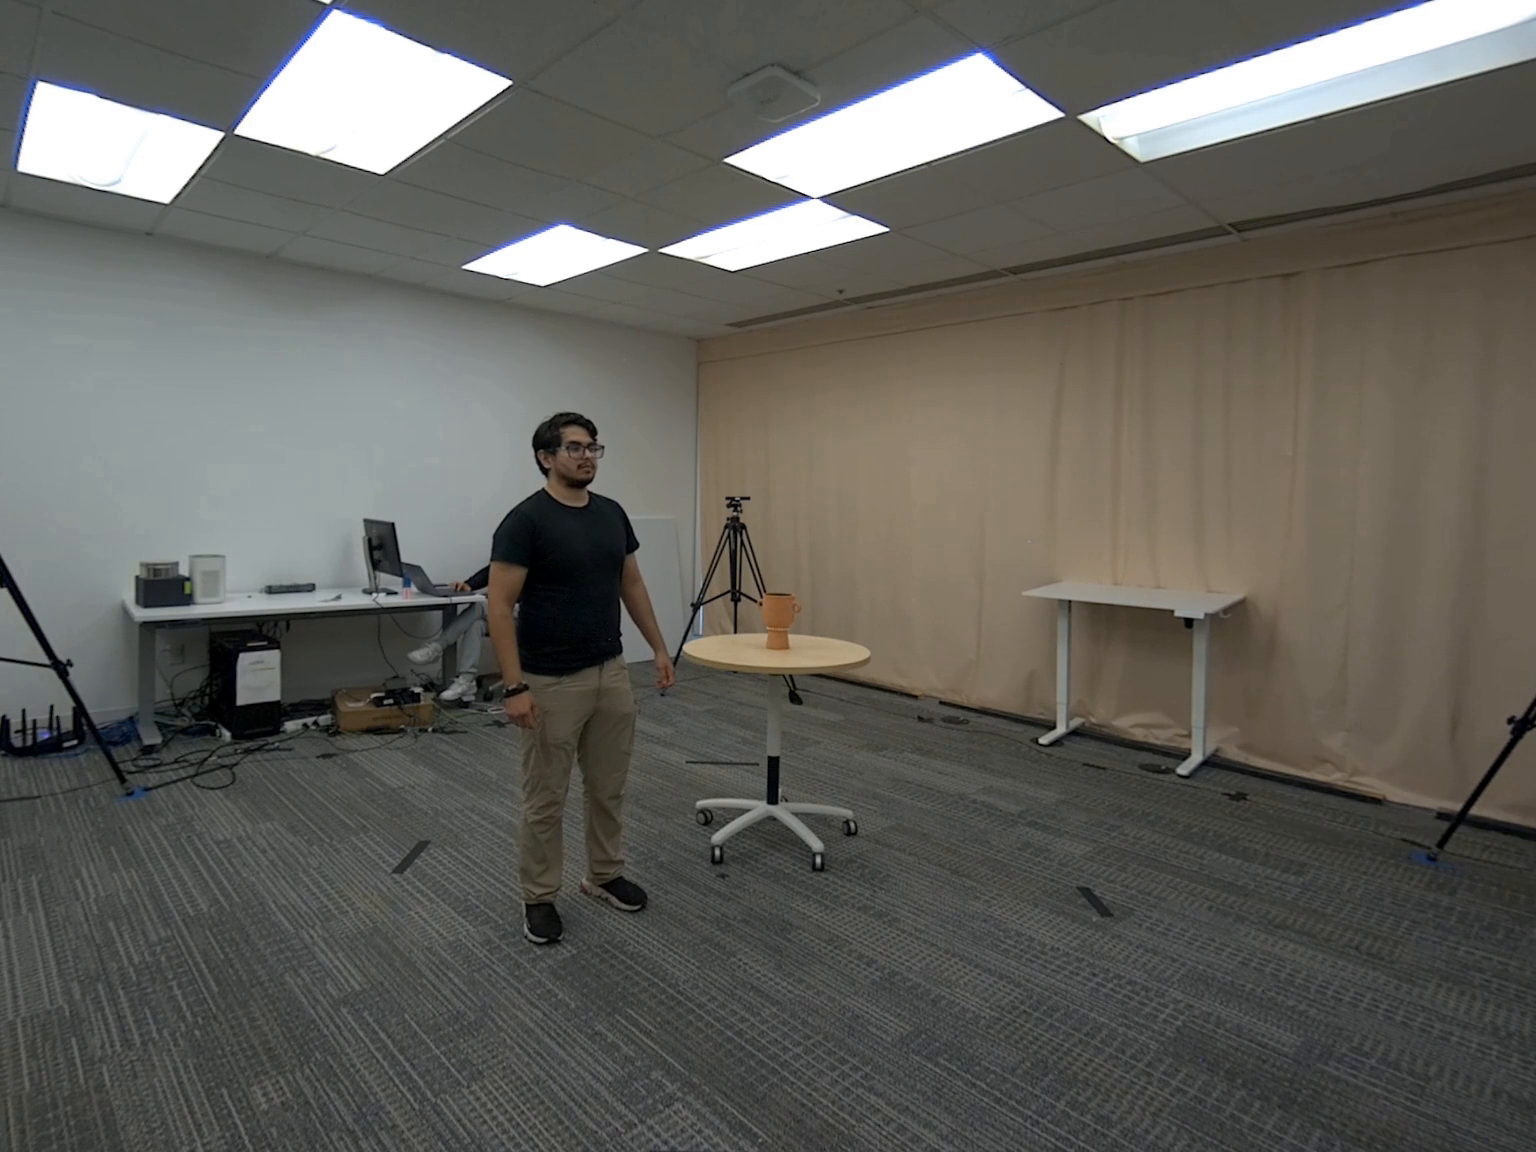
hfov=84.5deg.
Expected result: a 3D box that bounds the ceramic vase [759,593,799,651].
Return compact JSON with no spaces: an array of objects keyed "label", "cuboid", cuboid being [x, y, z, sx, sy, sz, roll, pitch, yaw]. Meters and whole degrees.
[{"label":"ceramic vase","cuboid":[0.036,0.184,3.461,0.132,0.219,0.162,-1,5,-26]}]
